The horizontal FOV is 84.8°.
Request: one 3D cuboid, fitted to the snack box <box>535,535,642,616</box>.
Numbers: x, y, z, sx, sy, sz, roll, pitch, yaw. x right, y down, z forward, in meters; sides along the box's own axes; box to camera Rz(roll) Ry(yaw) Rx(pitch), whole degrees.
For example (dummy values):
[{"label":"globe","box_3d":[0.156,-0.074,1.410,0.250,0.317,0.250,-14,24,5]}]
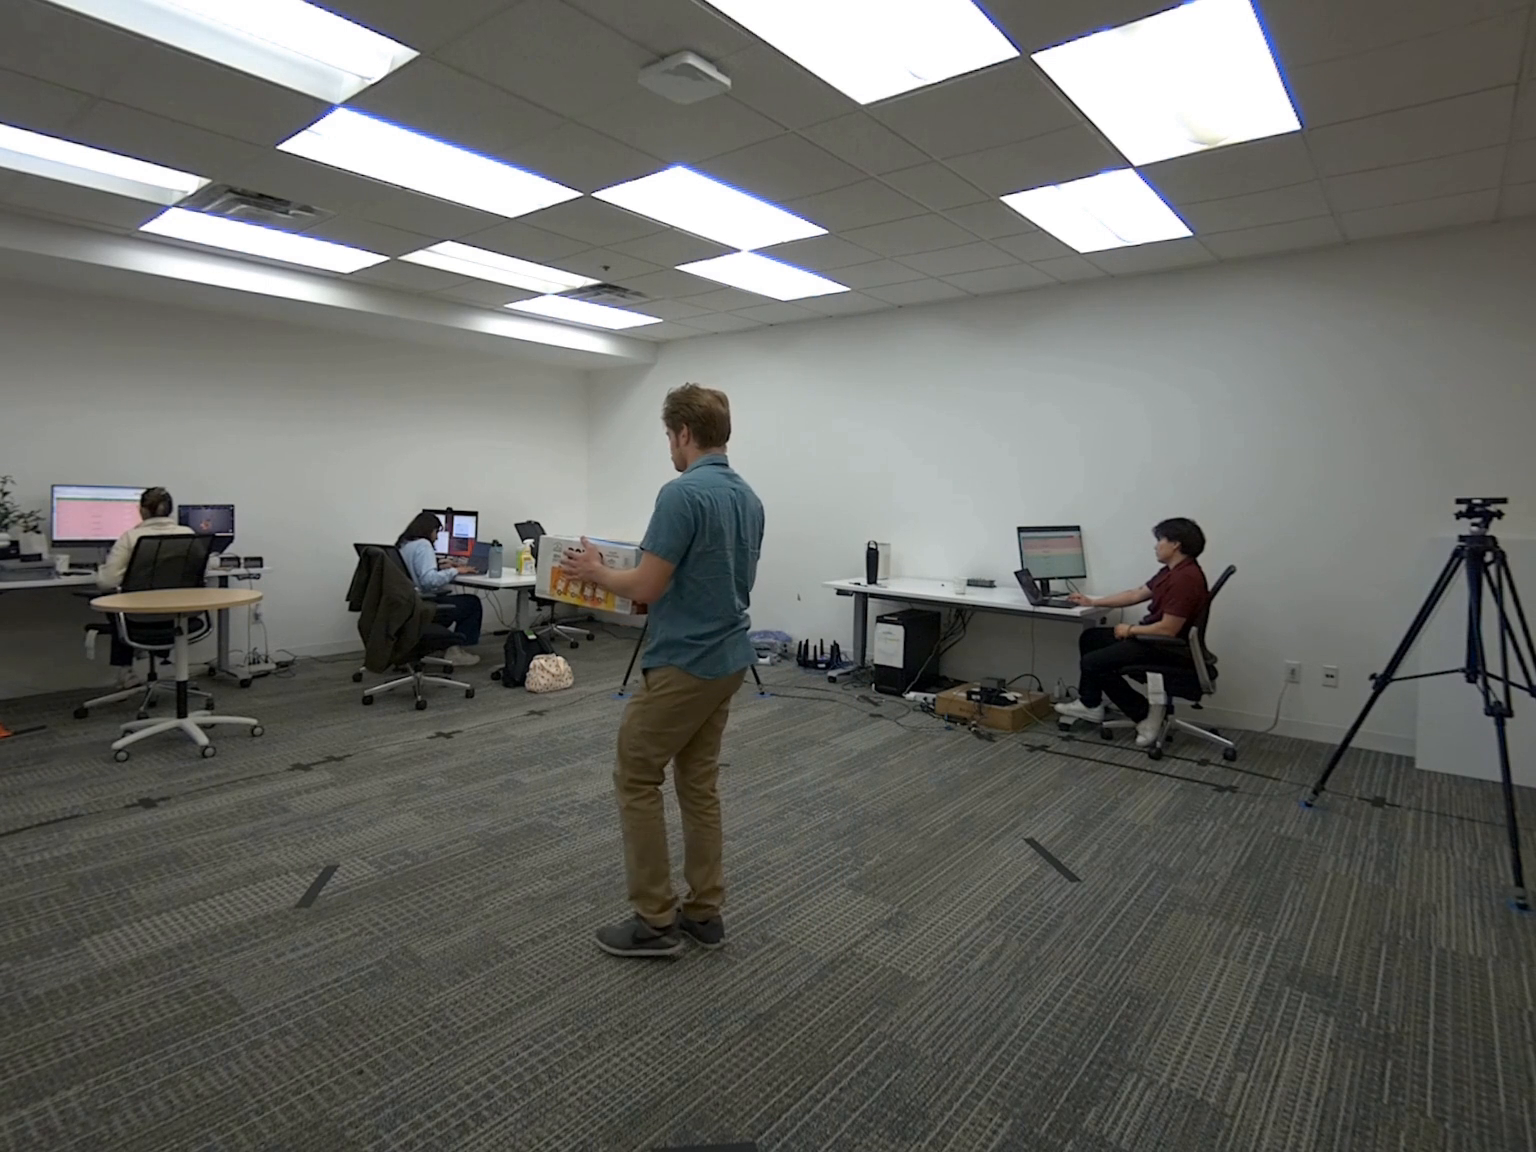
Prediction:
[{"label":"snack box","box_3d":[-0.508,-0.014,2.804,0.418,0.205,0.330,8,5,32]}]
